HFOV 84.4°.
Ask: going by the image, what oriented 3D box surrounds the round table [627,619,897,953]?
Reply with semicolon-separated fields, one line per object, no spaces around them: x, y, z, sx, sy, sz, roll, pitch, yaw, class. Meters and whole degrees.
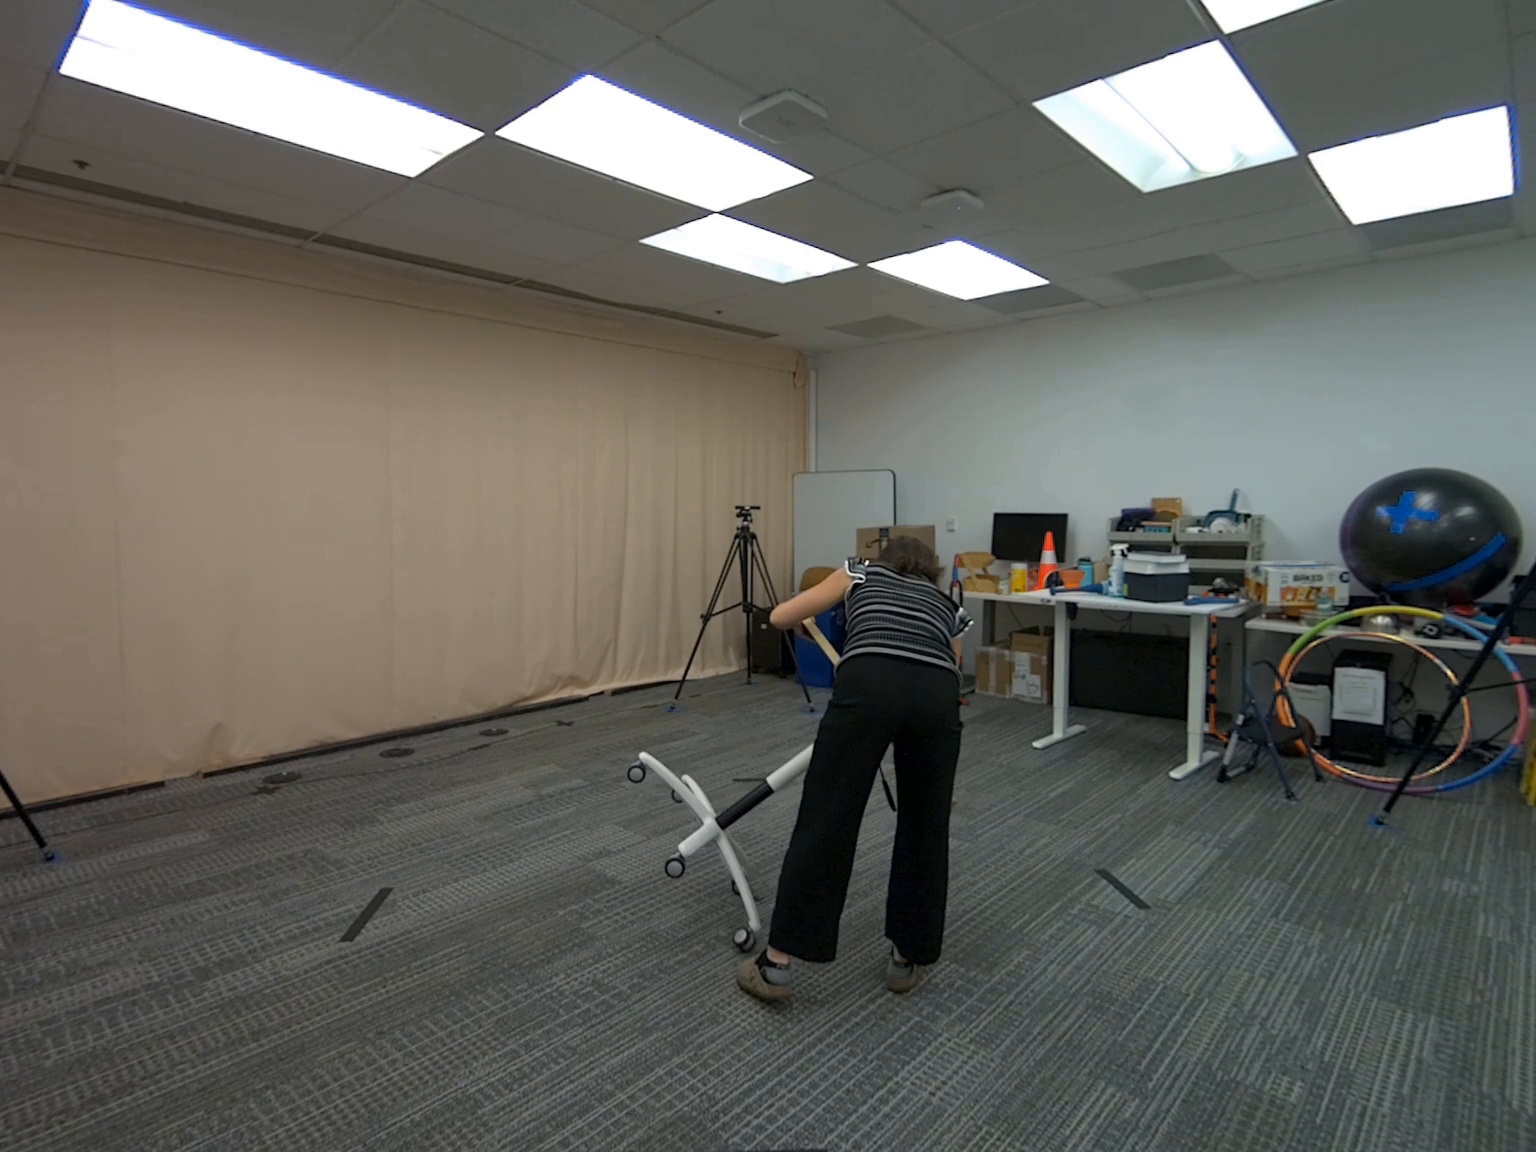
0.037;0.675;2.811;0.786;0.781;0.789;-38;5;0;round table
